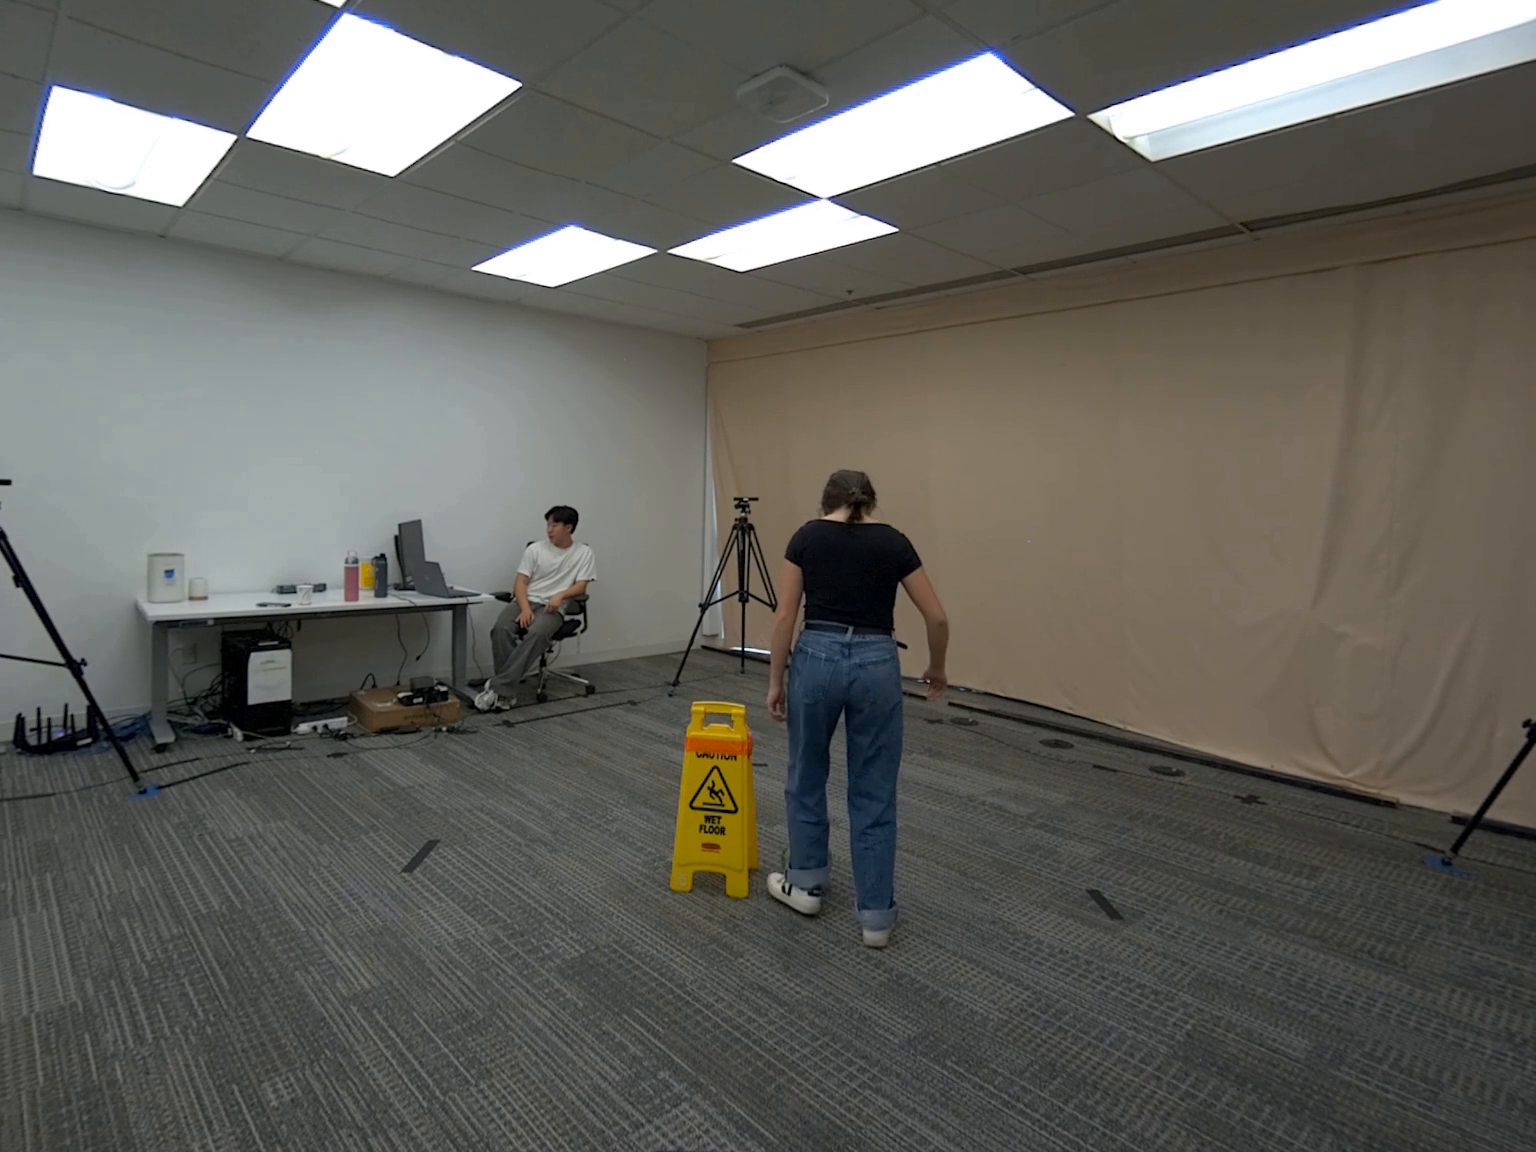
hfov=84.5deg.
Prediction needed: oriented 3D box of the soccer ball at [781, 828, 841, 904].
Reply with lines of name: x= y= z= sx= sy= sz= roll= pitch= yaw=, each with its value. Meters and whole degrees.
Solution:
soccer ball: x=0.148 y=1.035 z=3.038 sx=0.187 sy=0.187 sz=0.188 roll=1 pitch=4 yaw=-1
